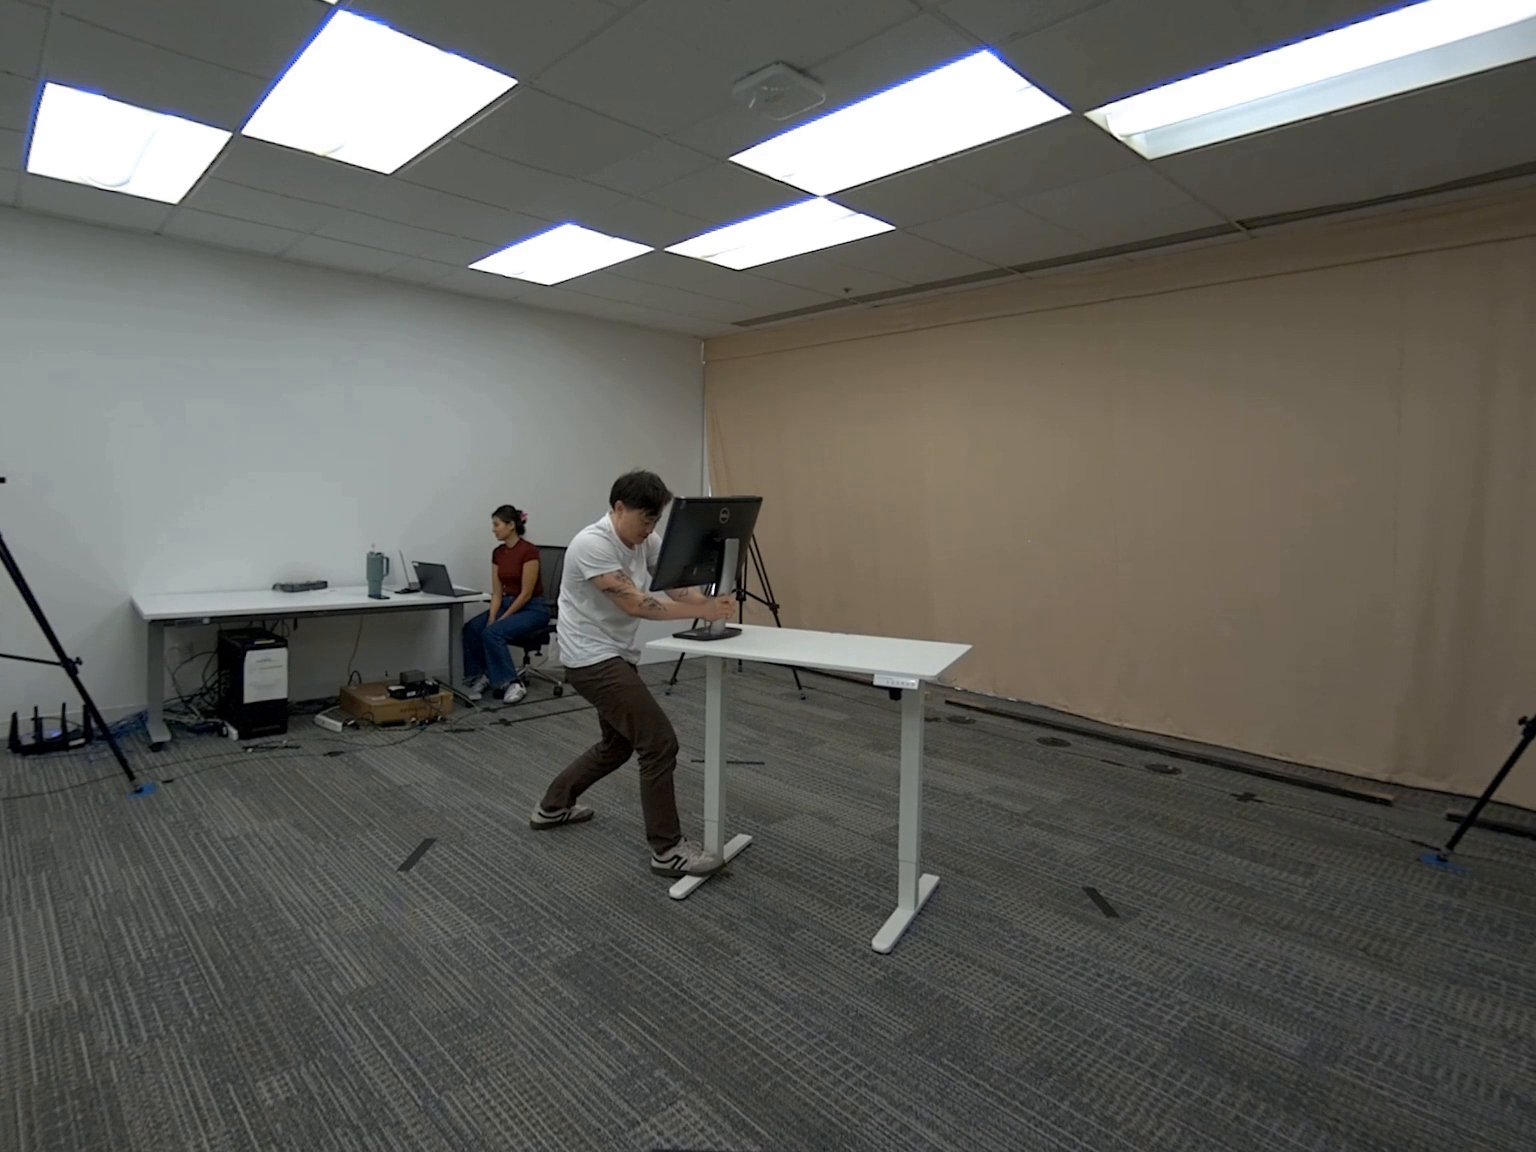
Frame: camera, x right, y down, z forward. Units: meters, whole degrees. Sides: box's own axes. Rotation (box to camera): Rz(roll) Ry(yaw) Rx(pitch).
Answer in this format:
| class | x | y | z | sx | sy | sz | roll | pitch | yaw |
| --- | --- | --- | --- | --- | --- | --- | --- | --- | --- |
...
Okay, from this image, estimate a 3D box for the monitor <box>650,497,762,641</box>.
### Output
| class | x | y | z | sx | sy | sz | roll | pitch | yaw |
| --- | --- | --- | --- | --- | --- | --- | --- | --- | --- |
| monitor | -0.206 | -0.032 | 3.099 | 0.191 | 0.520 | 0.528 | 7 | 7 | 31 |
